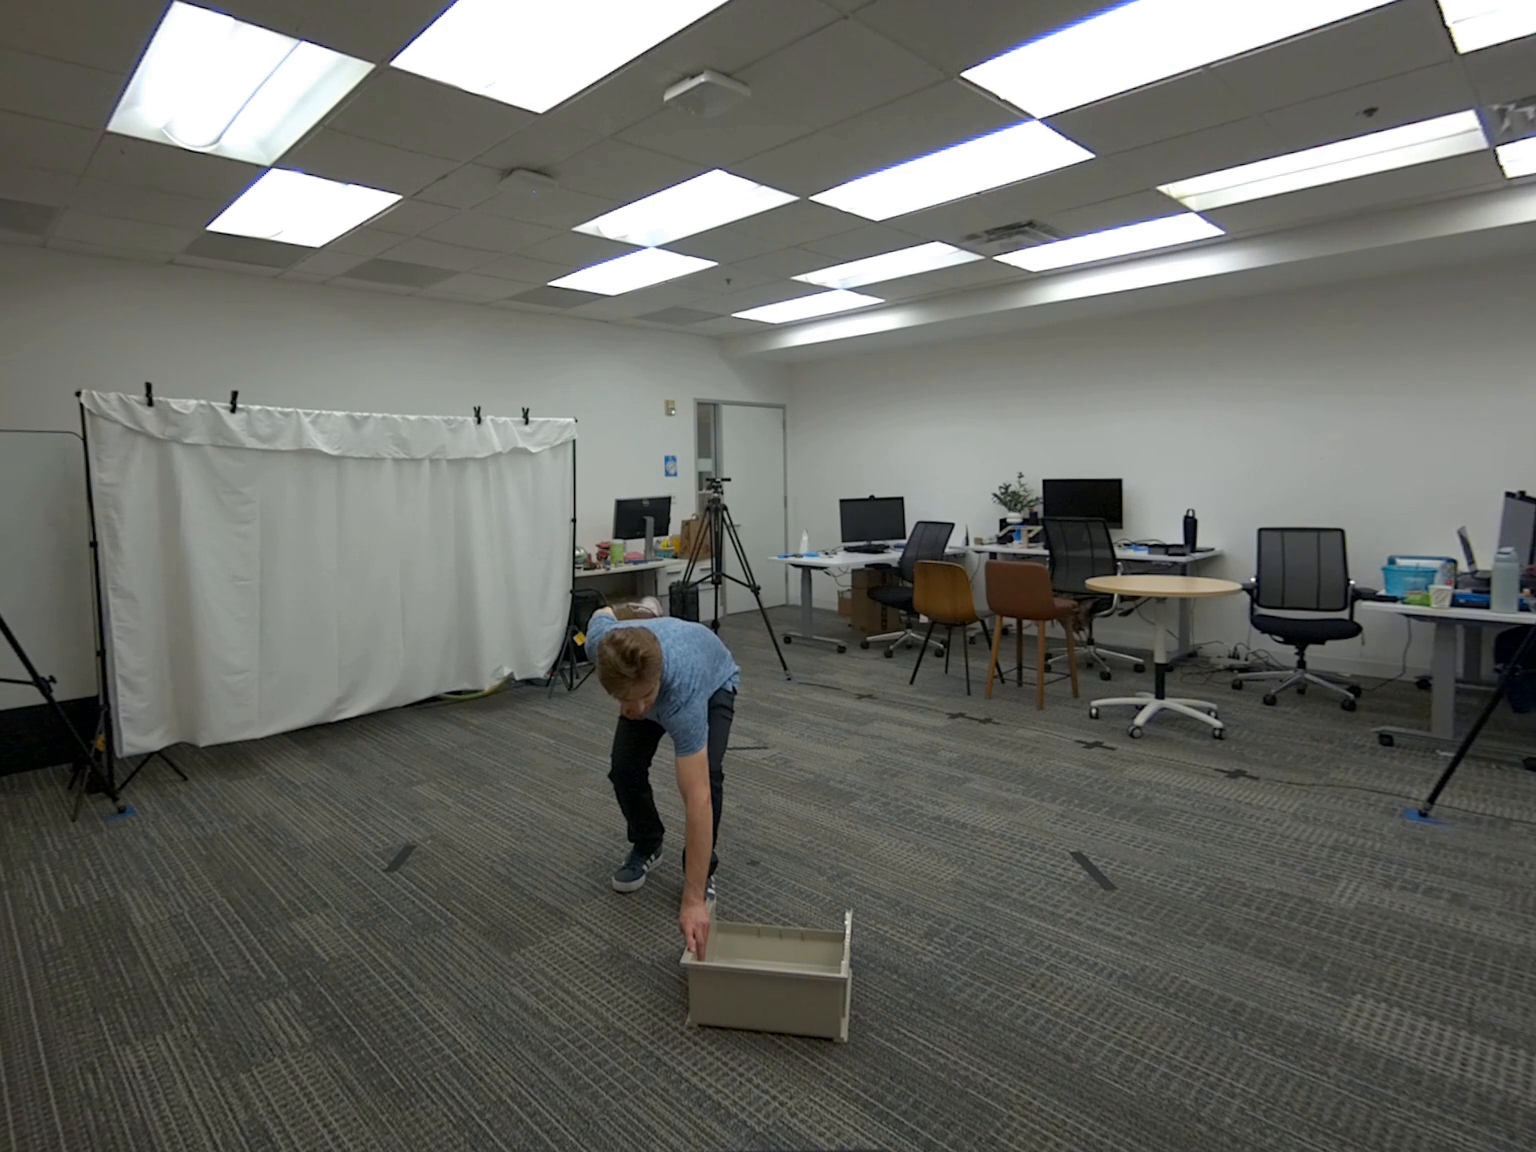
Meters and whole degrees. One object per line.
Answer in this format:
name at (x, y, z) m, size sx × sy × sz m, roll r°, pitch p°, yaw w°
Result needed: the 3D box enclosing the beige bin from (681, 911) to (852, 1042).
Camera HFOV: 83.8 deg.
beige bin at (0.015, 1.047, 2.313) m, size 0.426 × 0.188 × 0.376 m, roll 0°, pitch 7°, yaw 9°
